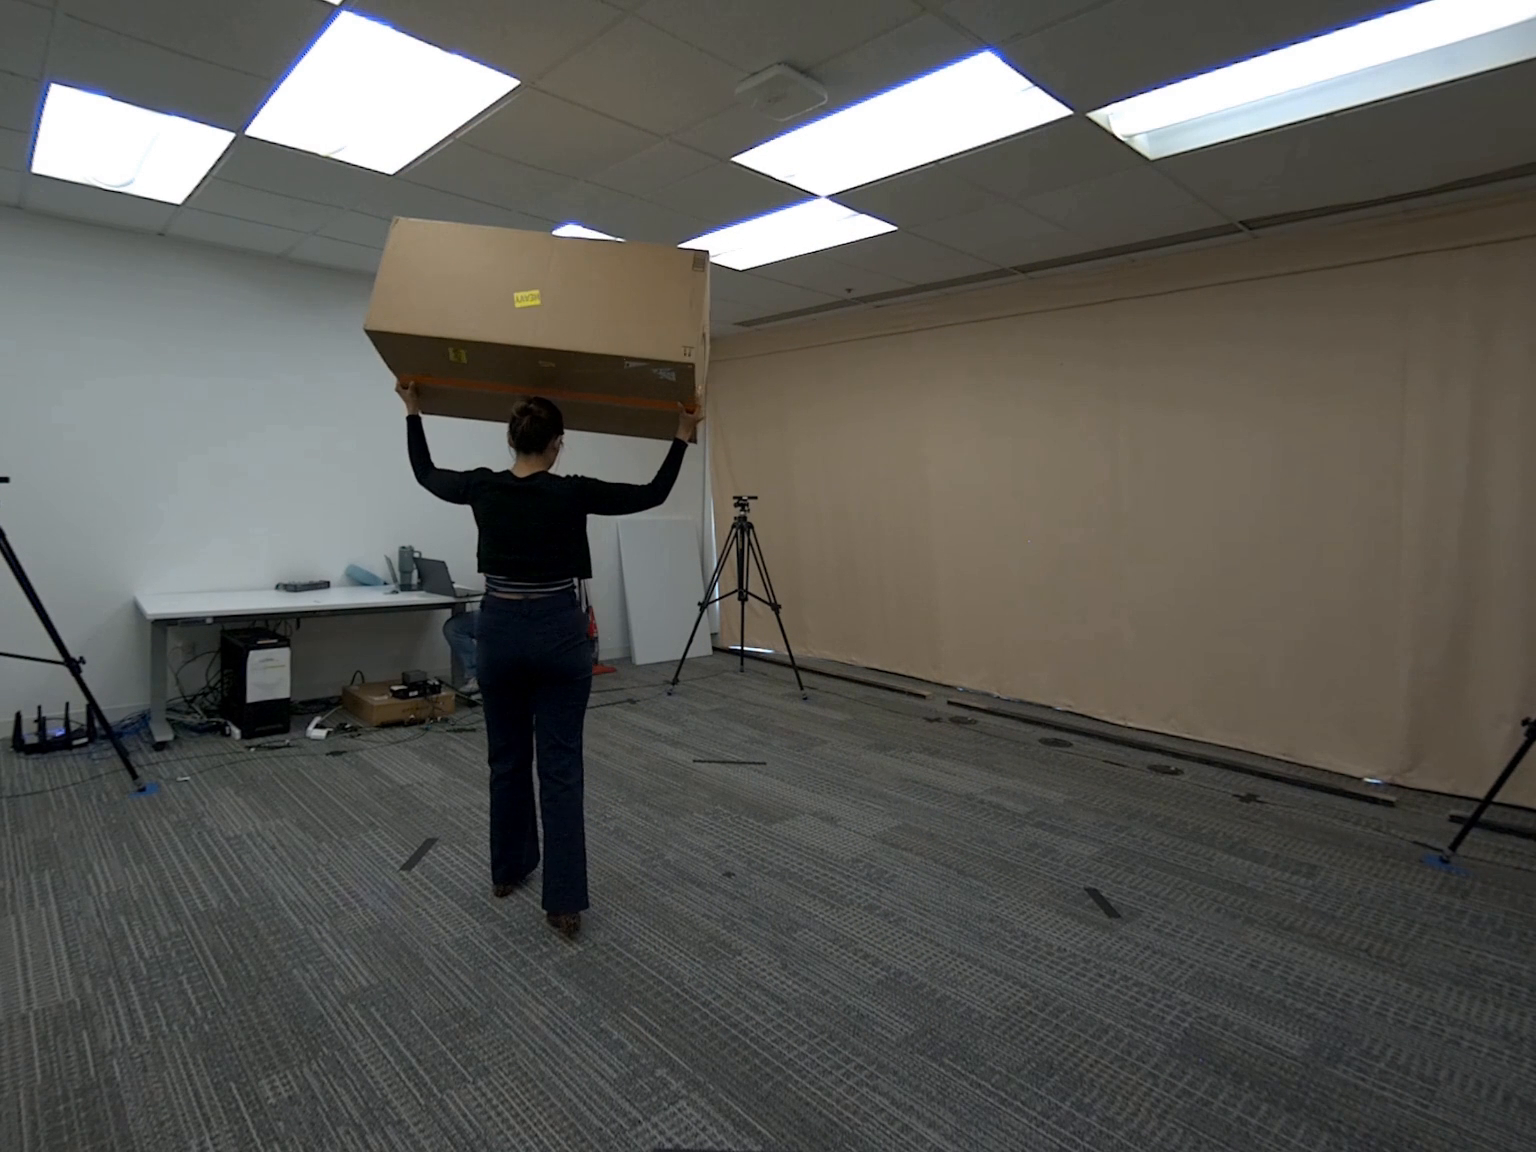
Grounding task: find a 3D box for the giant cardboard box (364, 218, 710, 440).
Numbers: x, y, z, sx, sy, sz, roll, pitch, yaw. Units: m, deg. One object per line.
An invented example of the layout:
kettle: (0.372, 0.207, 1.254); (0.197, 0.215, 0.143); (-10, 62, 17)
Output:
giant cardboard box: (-0.736, -0.813, 2.888); (1.026, 0.431, 0.571); (6, -17, 0)
